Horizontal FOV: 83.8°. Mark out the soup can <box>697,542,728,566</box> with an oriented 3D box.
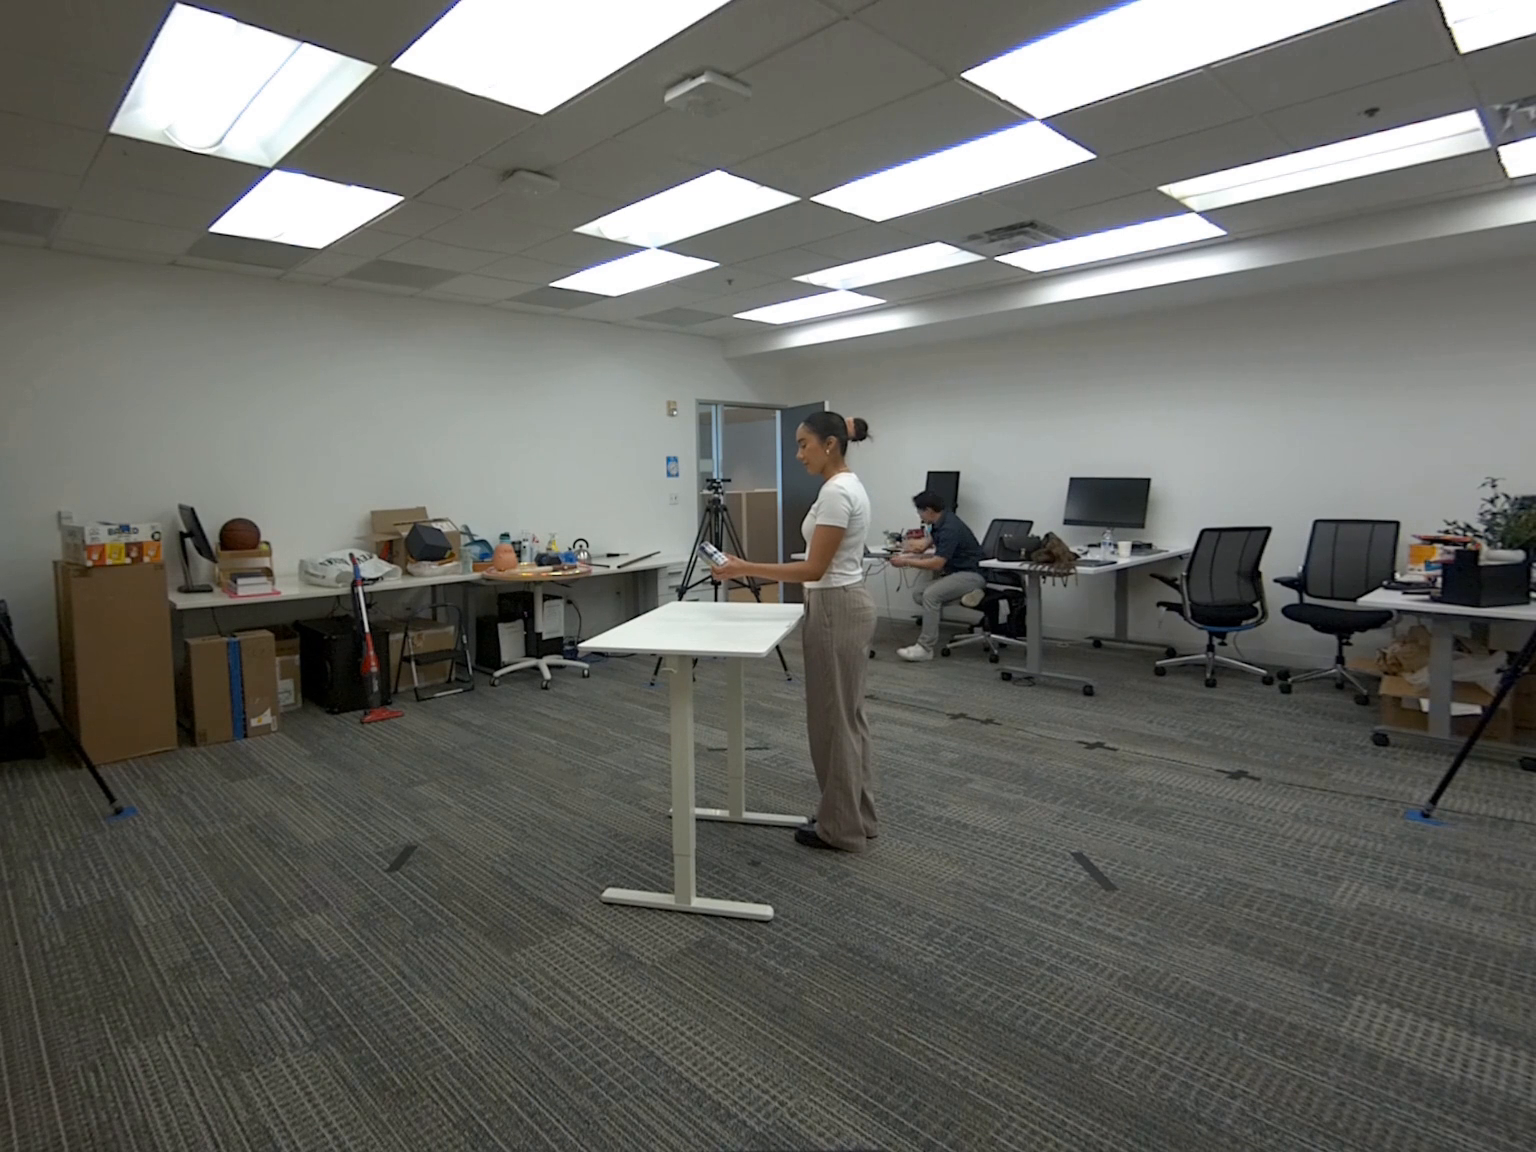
[{"bbox_3d":[-0.199,-0.070,3.135,0.125,0.067,0.066,41,21,20],"label":"soup can"}]
